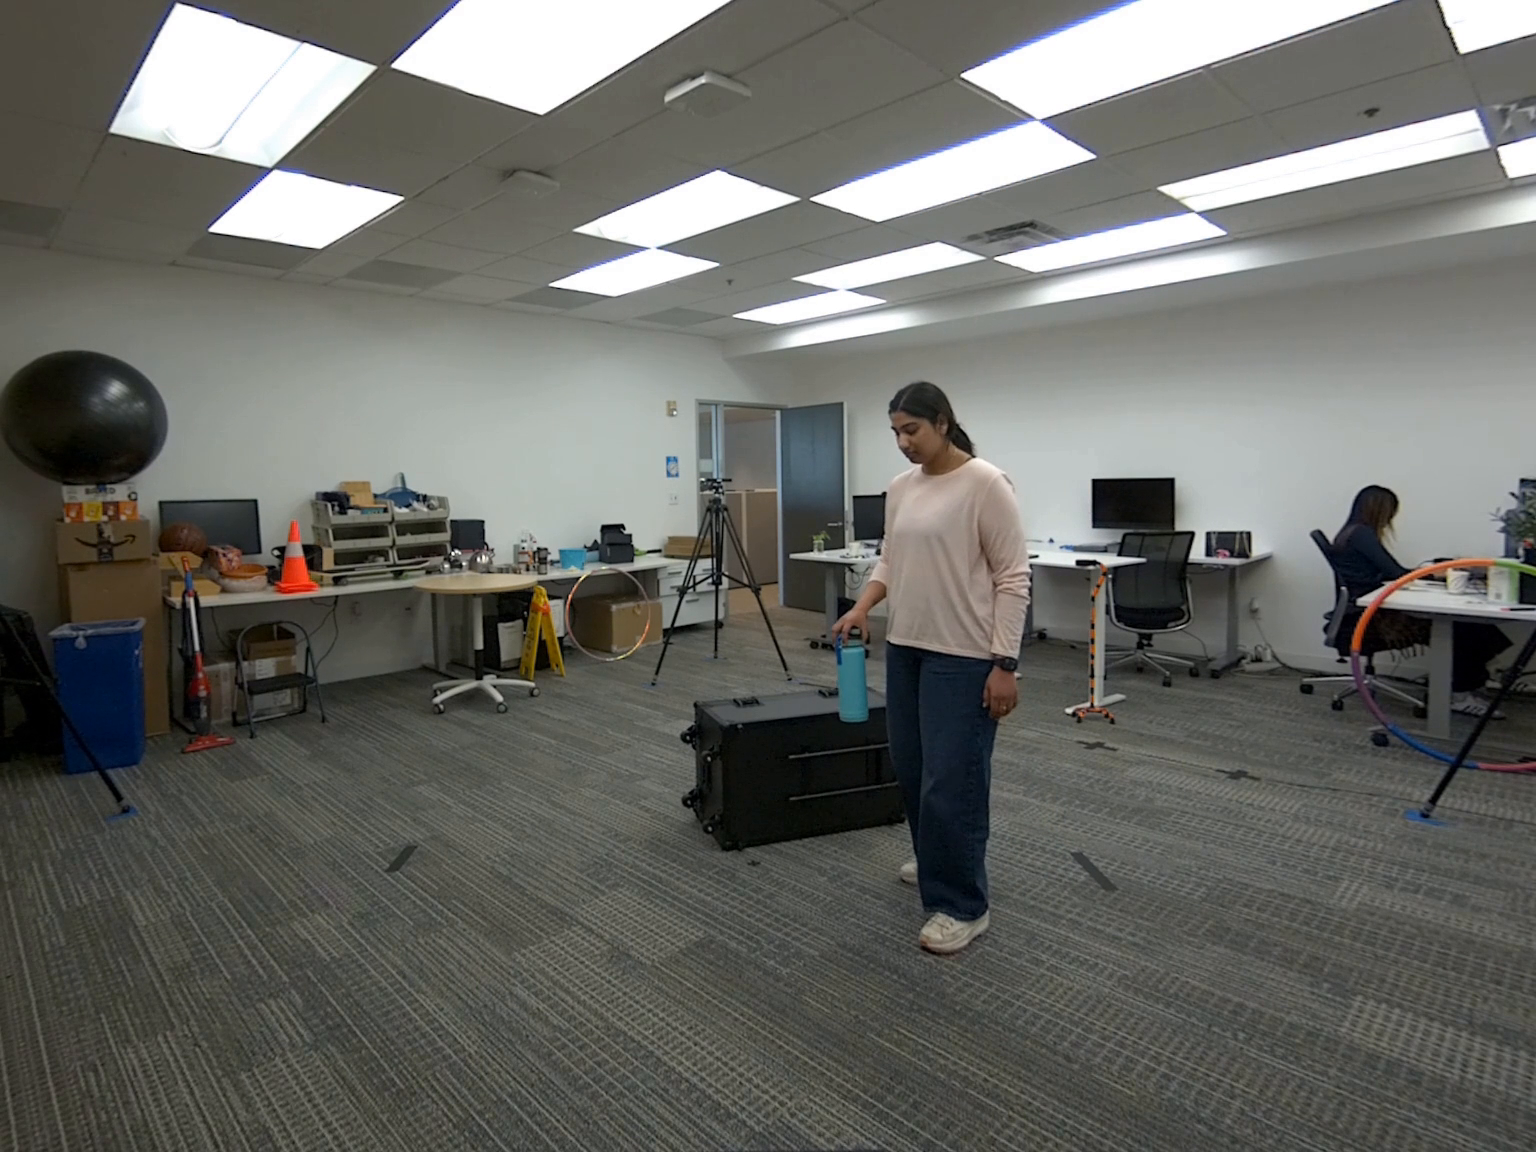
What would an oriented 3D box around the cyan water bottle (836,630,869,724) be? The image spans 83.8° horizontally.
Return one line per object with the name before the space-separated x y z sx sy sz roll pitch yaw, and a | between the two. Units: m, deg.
cyan water bottle | 0.278 0.311 2.684 0.092 0.283 0.092 -3 1 -2
